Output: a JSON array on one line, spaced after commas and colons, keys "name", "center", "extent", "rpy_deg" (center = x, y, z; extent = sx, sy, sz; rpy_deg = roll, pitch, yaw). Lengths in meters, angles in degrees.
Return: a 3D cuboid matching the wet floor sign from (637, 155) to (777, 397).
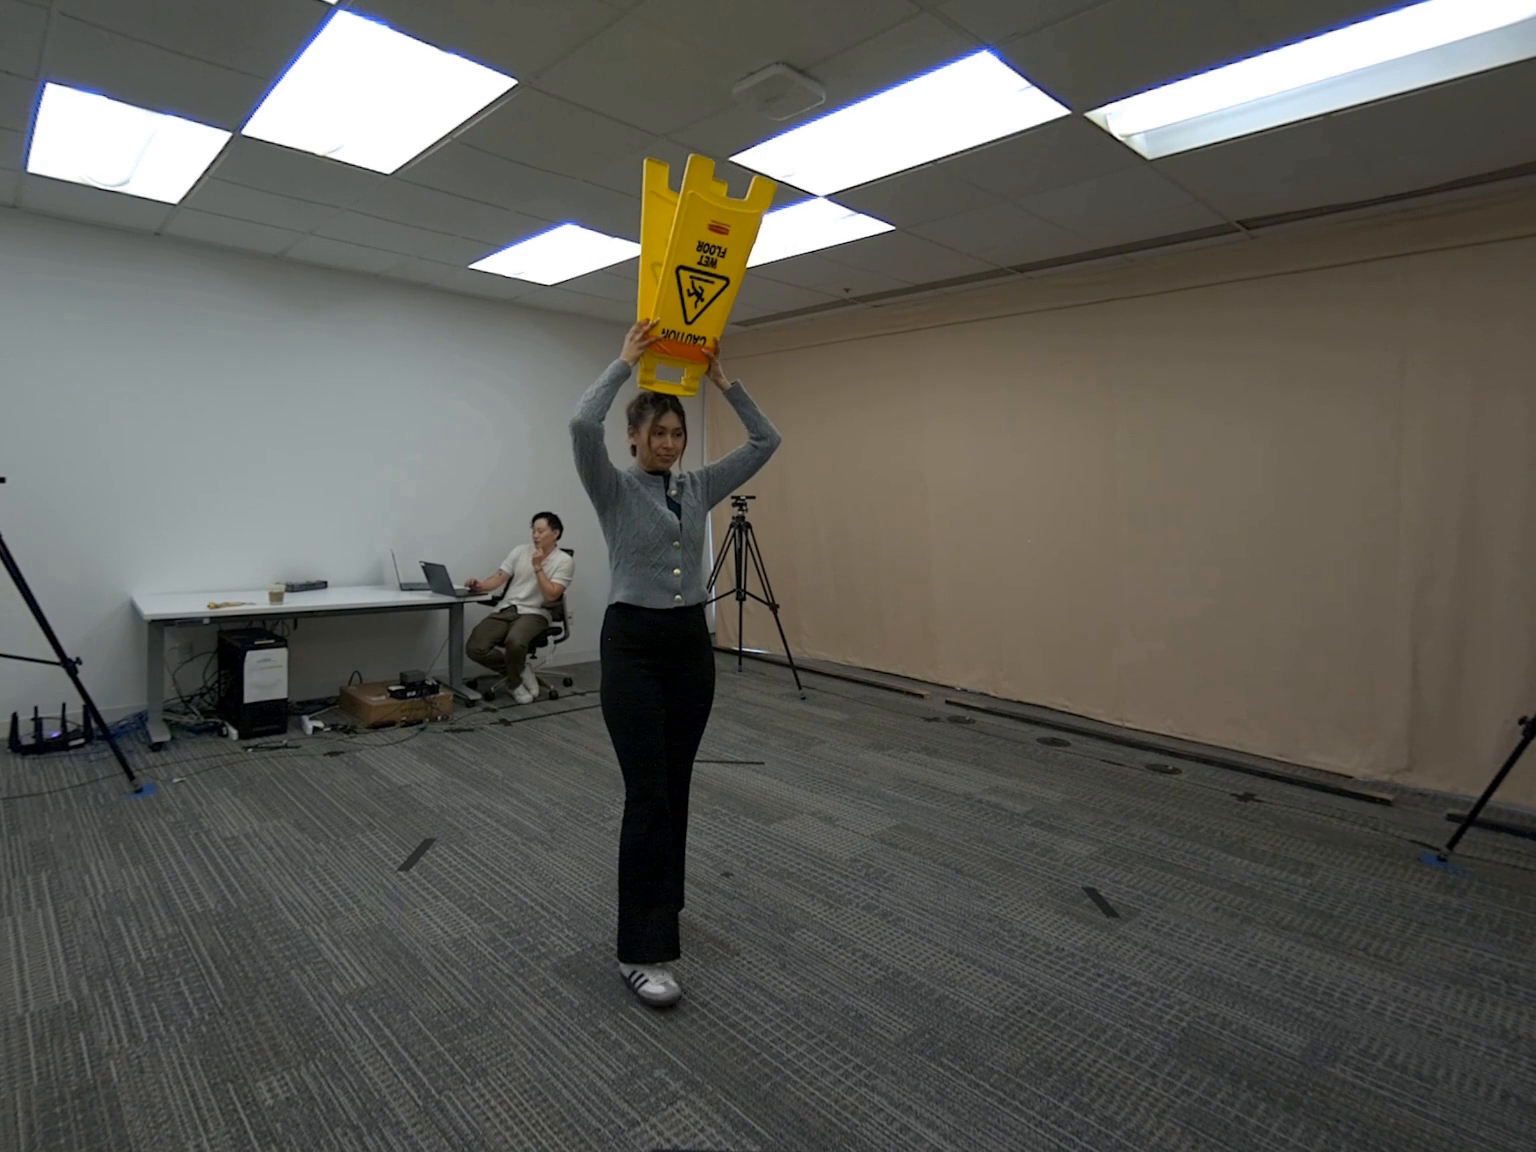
[{"name": "wet floor sign", "center": [-0.243, -0.853, 2.467], "extent": [0.276, 0.640, 0.299], "rpy_deg": [3, 20, -33]}]
